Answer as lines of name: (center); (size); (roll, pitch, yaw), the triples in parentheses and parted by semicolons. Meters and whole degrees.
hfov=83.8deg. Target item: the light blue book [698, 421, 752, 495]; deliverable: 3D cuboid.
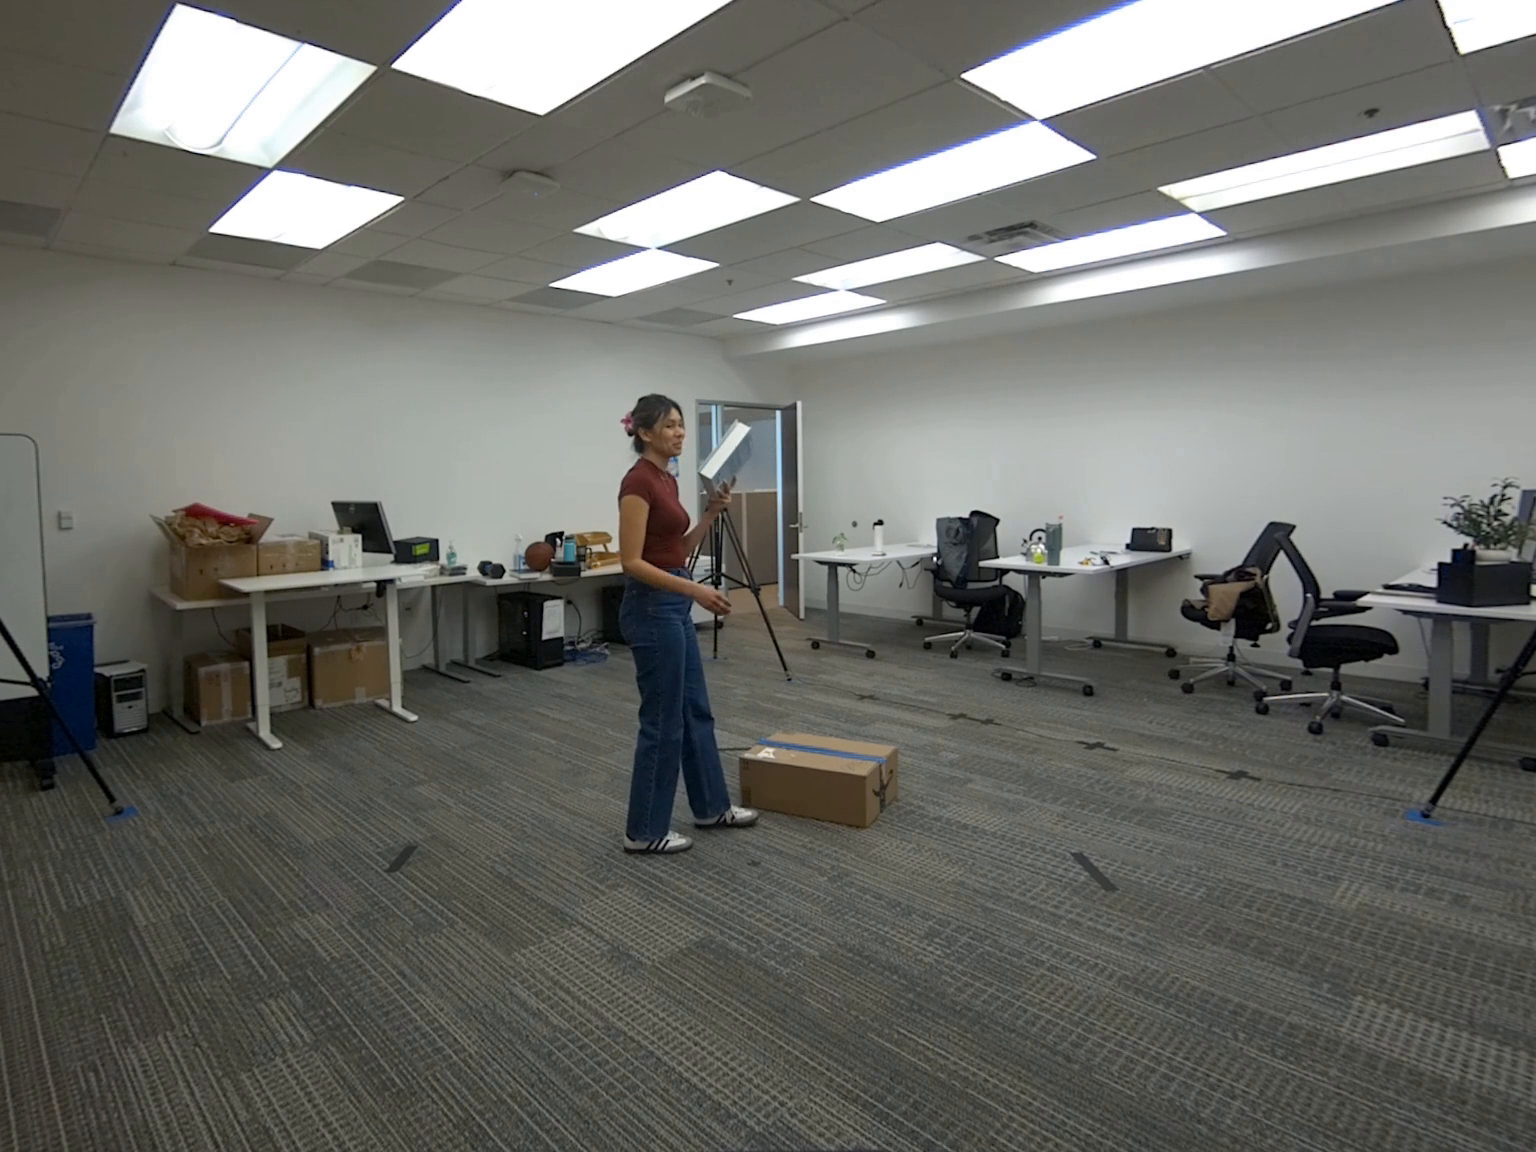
light blue book: (-0.153, -0.442, 3.273); (0.060, 0.261, 0.186); (30, -15, 18)
